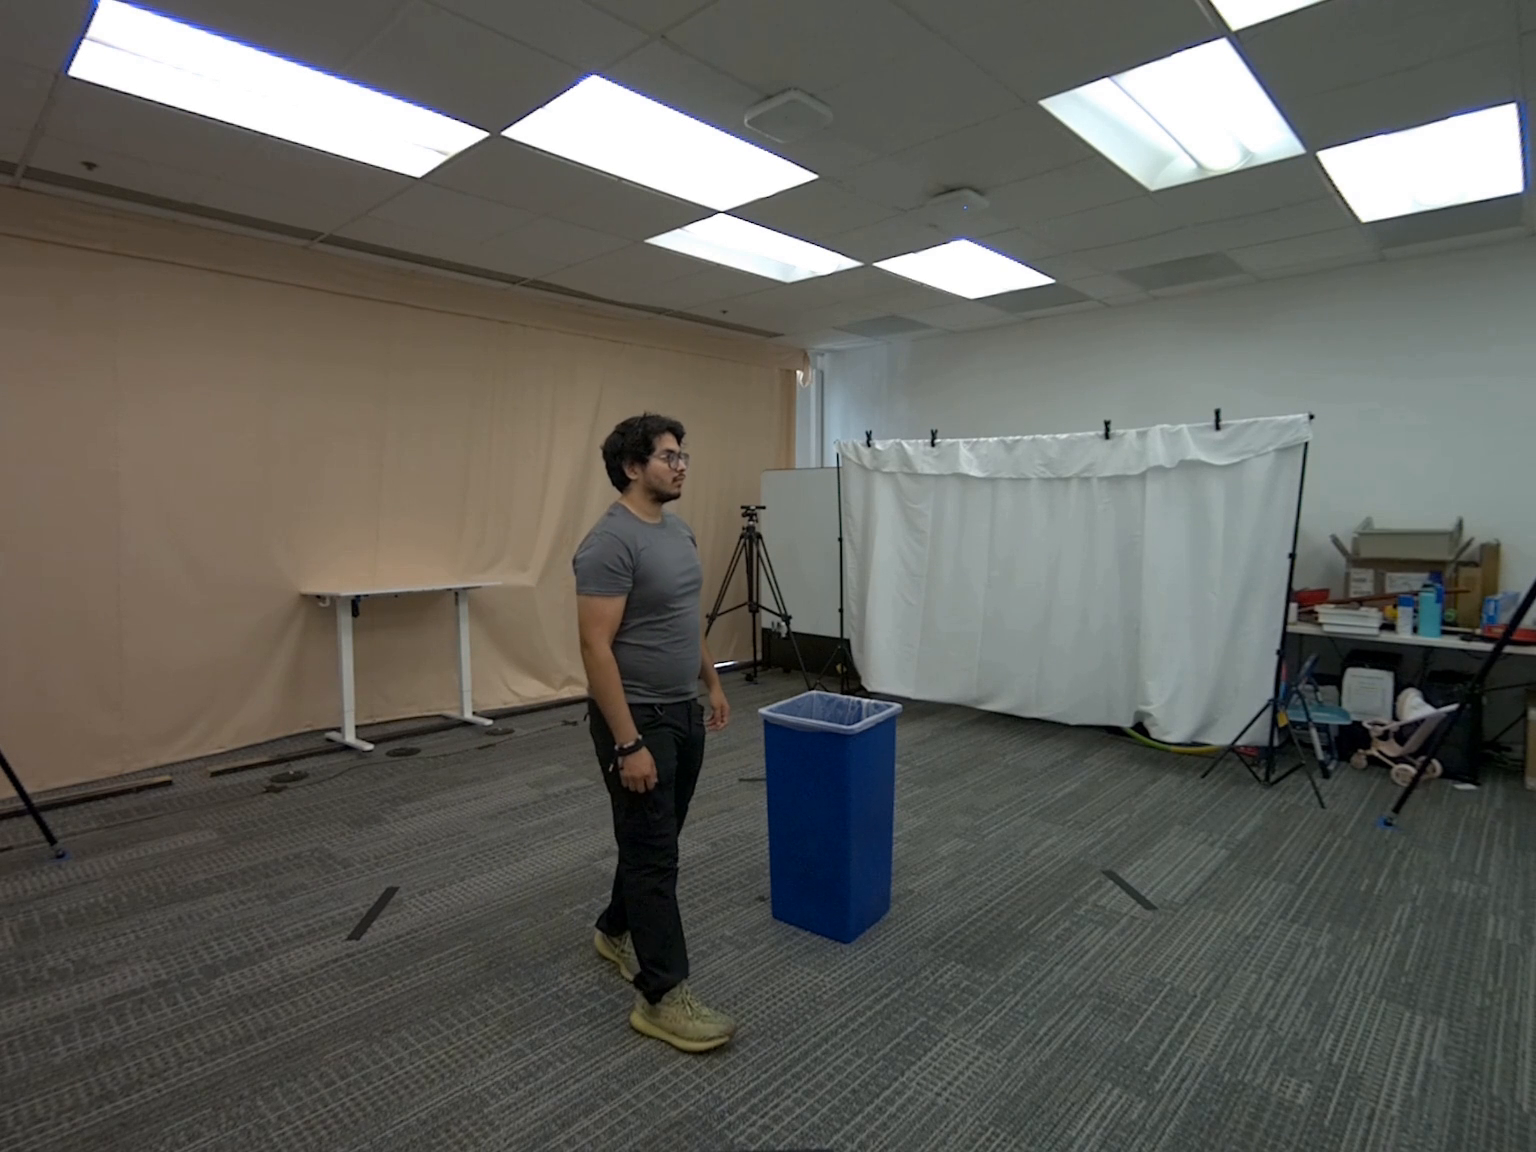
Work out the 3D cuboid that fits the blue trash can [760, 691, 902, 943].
[{"bbox_3d":[0.216,0.796,2.845,0.390,0.712,0.363,2,4,37],"label":"blue trash can"}]
